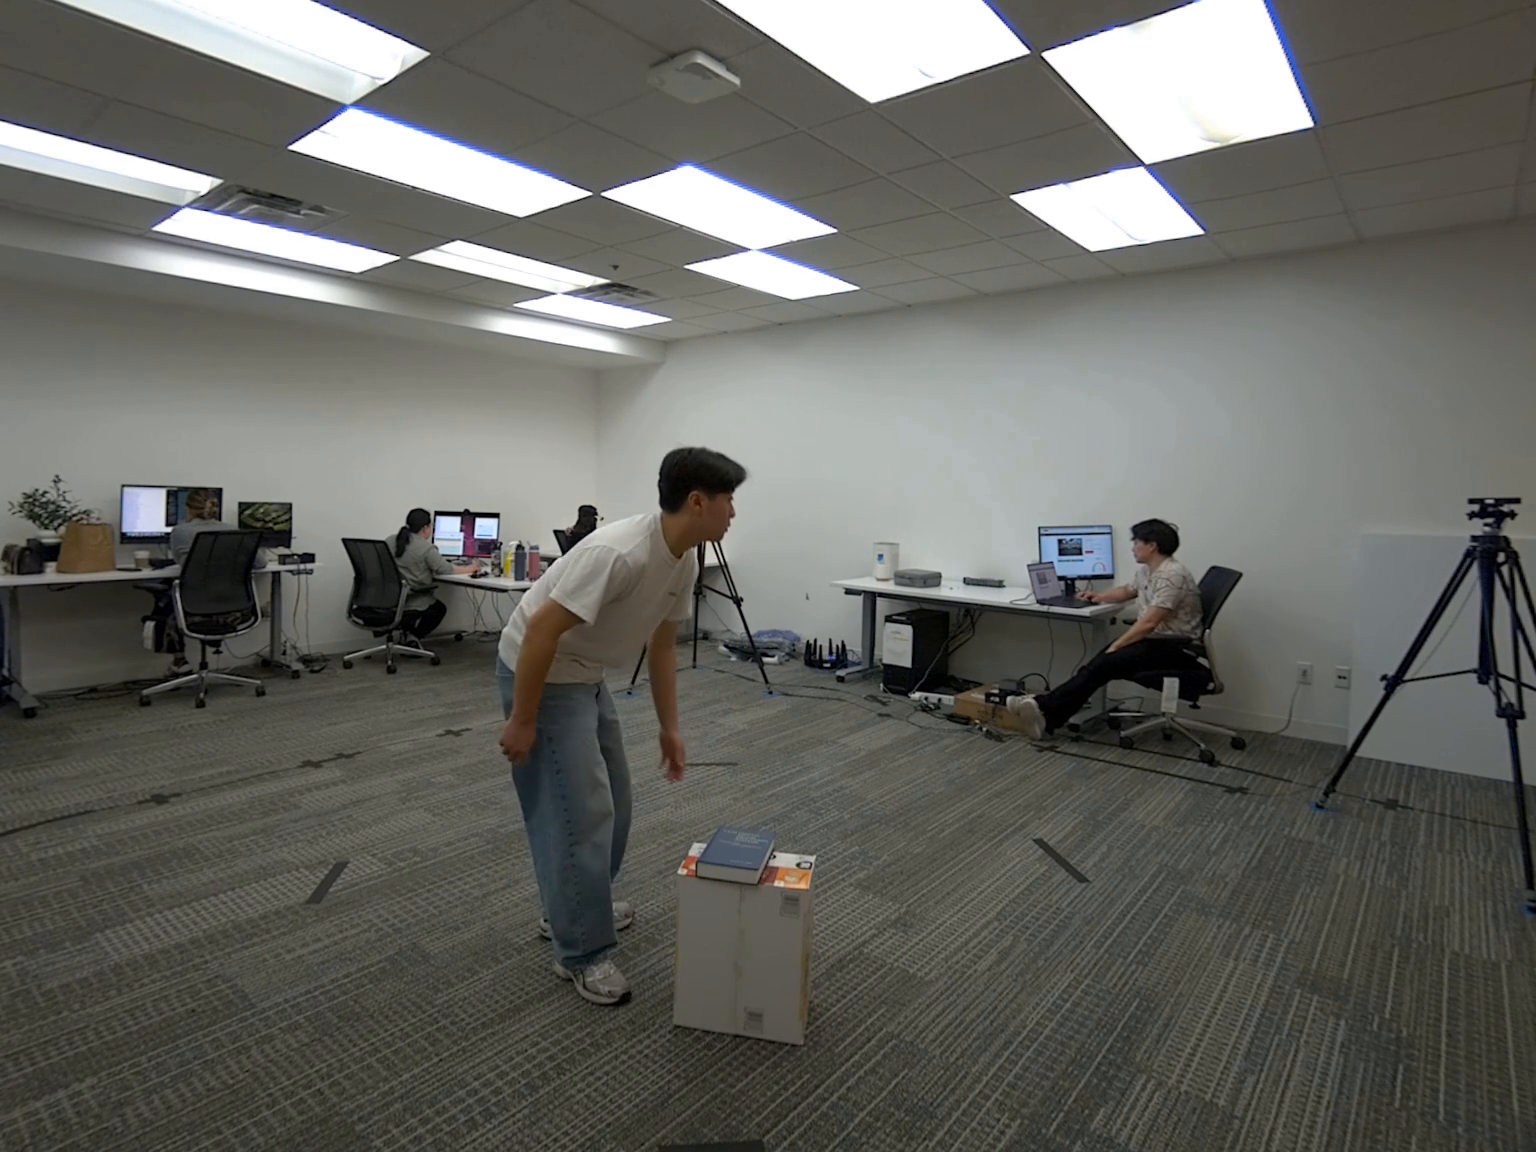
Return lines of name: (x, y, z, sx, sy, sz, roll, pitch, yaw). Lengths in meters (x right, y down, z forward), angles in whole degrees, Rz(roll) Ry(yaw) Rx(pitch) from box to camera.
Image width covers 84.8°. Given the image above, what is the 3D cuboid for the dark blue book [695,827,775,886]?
dark blue book: (-0.085, 0.732, 2.241, 0.166, 0.045, 0.242, 3, 5, 11)
